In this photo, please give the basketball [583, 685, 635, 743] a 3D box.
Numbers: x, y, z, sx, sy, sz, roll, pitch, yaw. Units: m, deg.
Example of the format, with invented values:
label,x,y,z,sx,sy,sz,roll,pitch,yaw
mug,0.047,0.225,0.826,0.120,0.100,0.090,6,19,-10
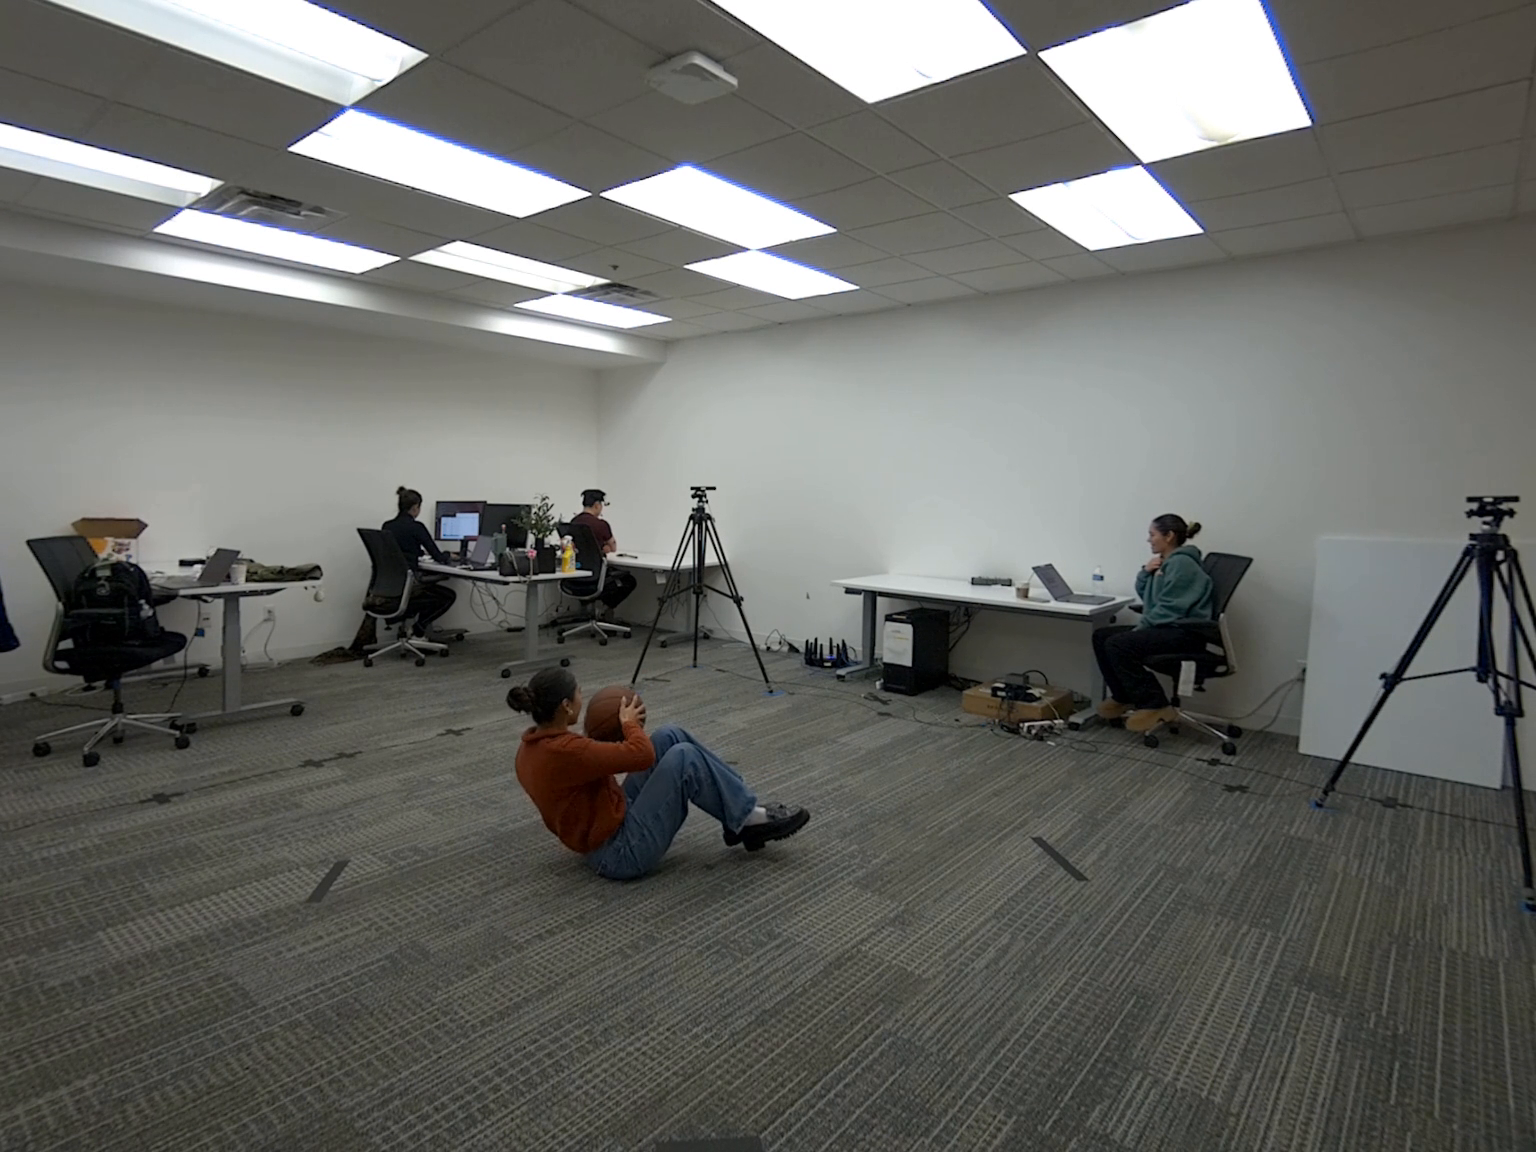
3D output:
label,x,y,z,sx,sy,sz,roll,pitch,yaw
basketball,-0.621,0.555,3.346,0.235,0.235,0.237,1,4,-2
